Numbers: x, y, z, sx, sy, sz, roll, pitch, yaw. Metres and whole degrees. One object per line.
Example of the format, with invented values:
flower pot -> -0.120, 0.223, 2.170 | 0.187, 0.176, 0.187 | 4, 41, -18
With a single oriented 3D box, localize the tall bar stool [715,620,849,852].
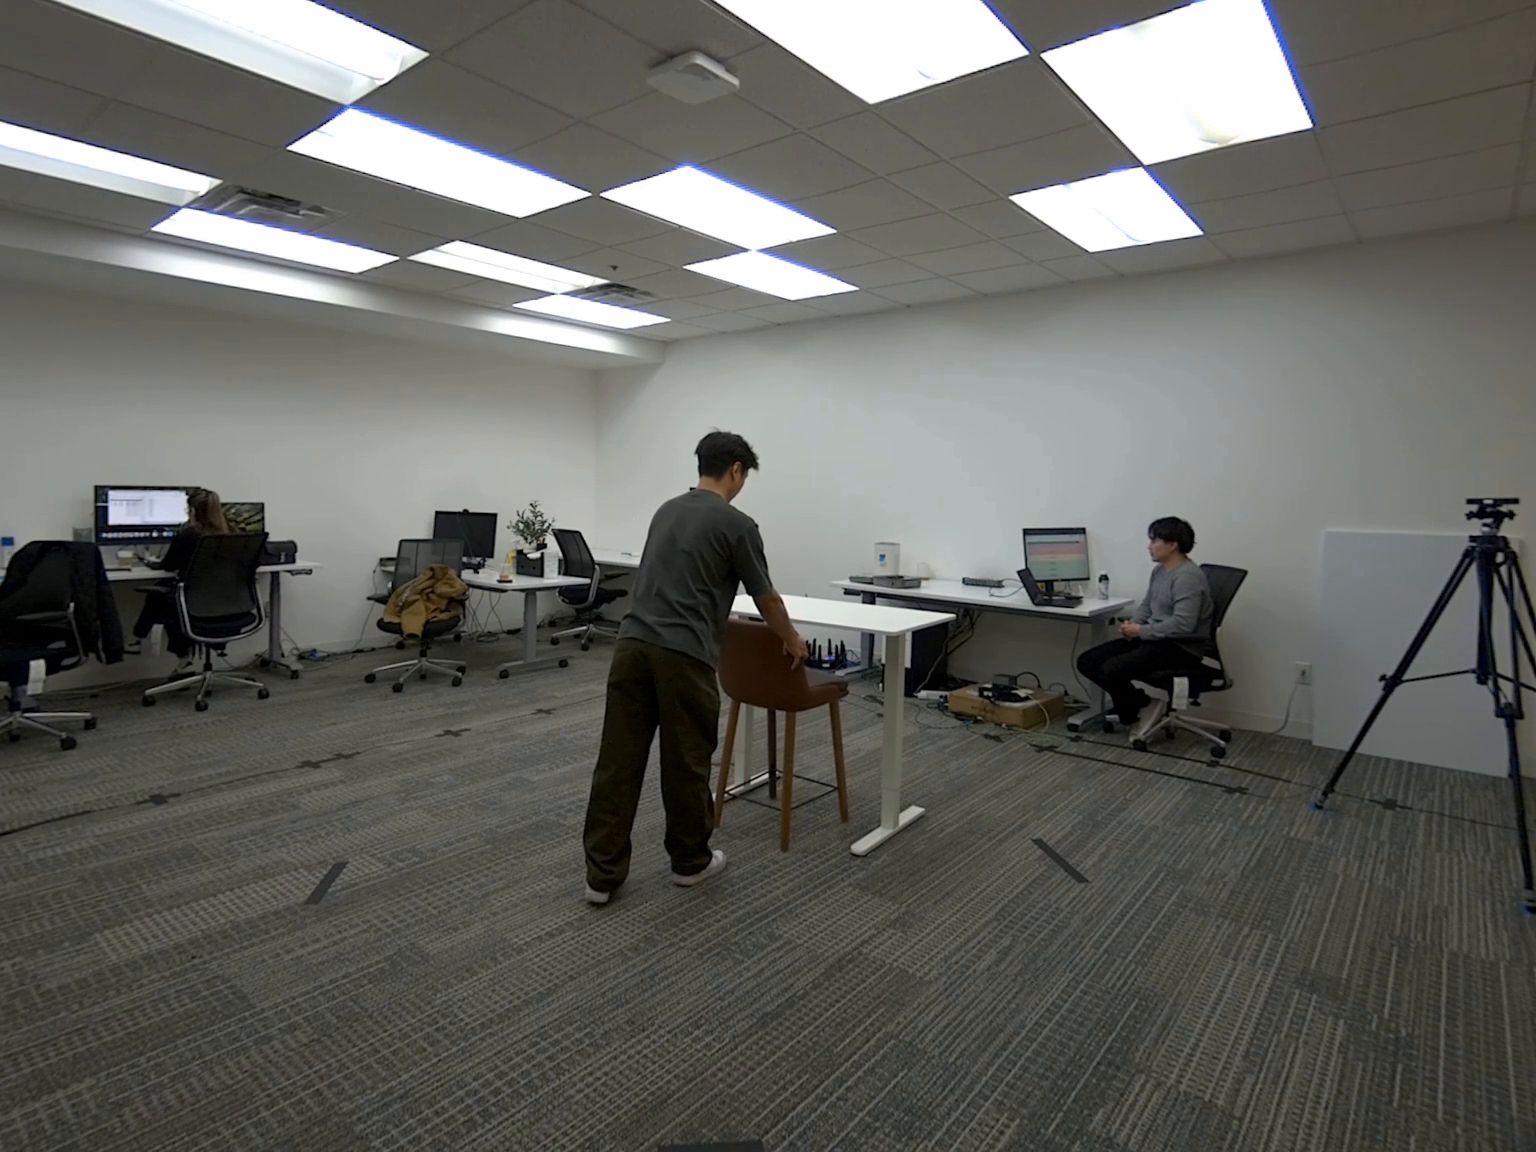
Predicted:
tall bar stool -> 0.043, 0.591, 3.520 | 0.472, 0.885, 0.455 | 4, 7, 38
